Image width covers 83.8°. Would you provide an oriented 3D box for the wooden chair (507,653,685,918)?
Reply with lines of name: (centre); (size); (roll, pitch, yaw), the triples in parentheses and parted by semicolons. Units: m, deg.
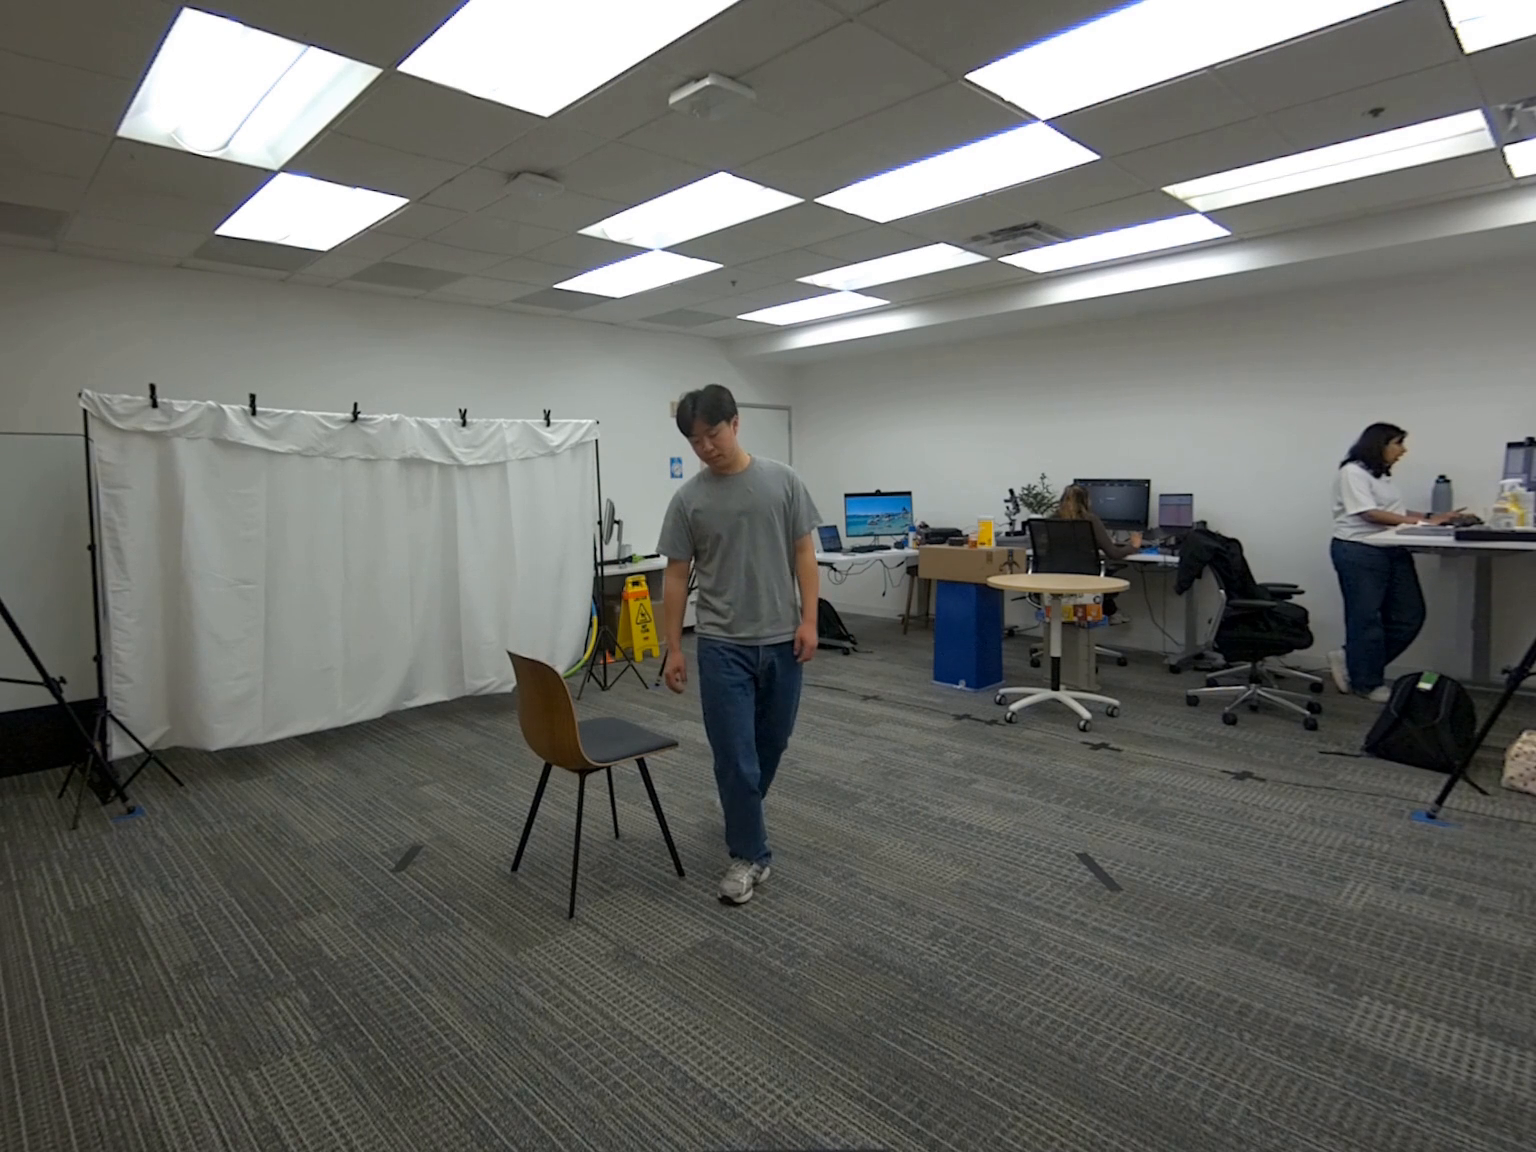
wooden chair: (-0.610, 0.639, 3.022); (0.511, 0.872, 0.492); (-10, 9, -39)
